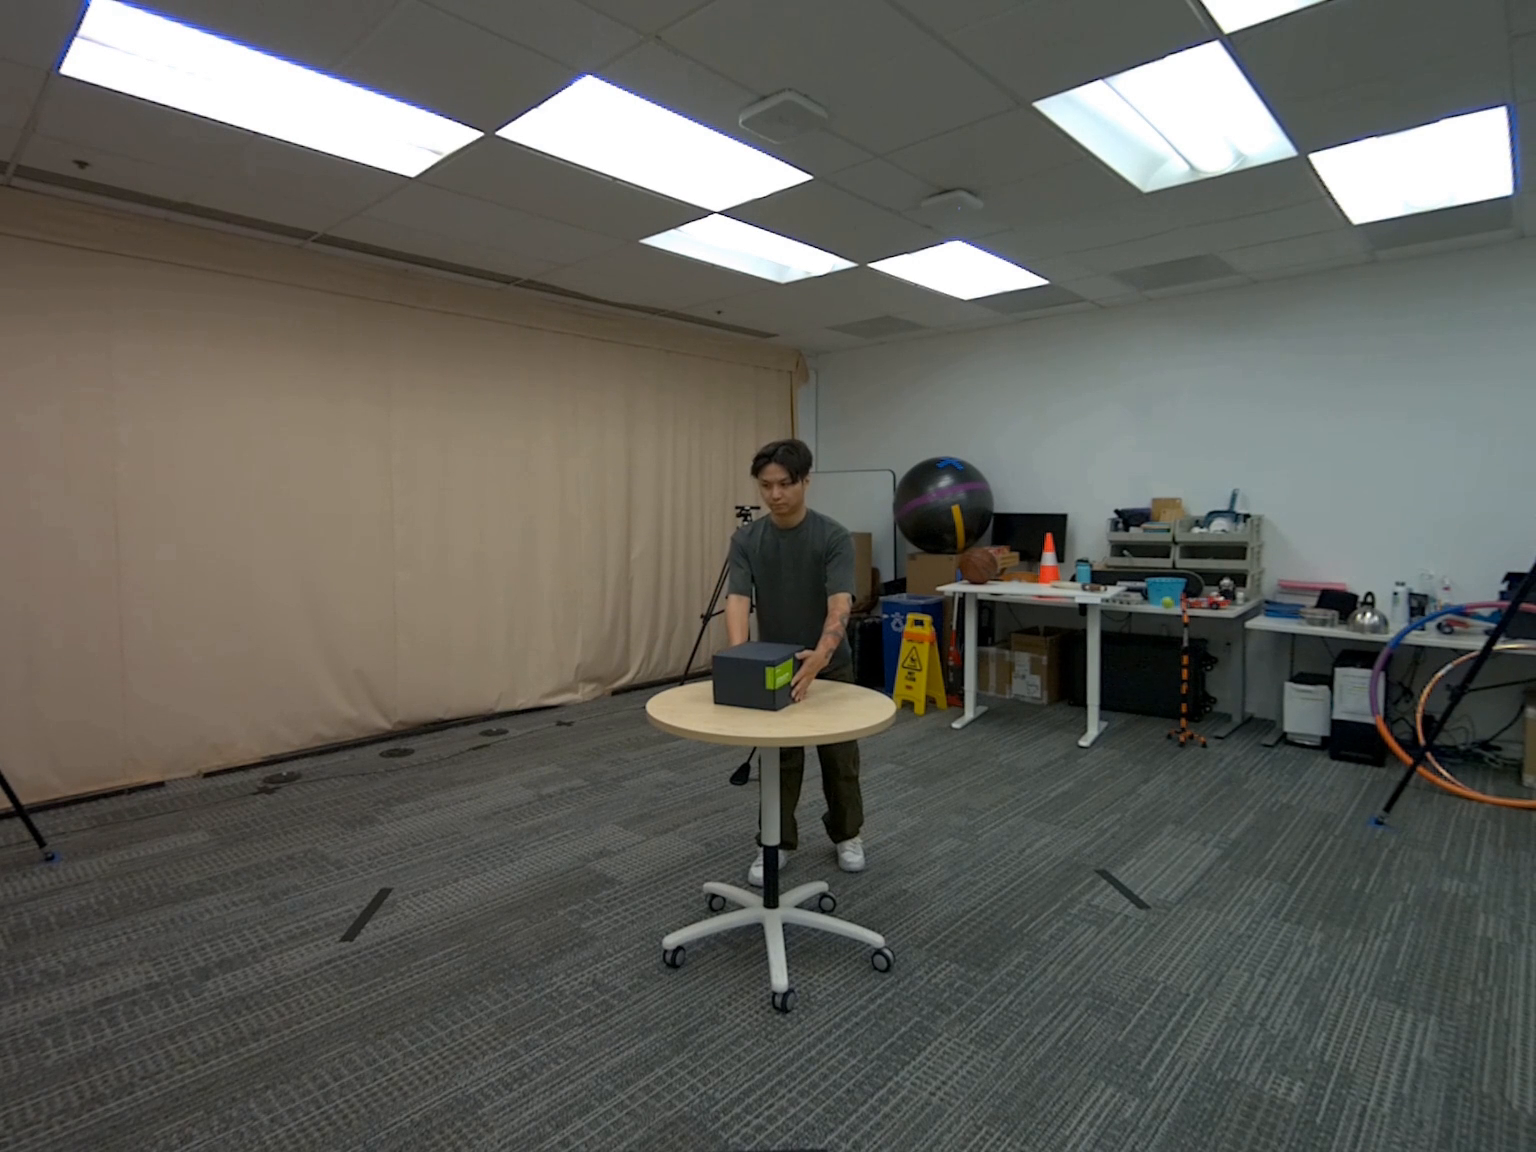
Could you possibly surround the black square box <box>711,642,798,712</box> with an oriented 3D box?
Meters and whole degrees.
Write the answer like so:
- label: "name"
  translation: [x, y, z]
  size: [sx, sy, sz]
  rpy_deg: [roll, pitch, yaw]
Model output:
- label: "black square box"
  translation: [-0.024, 0.306, 2.631]
  size: [0.223, 0.155, 0.222]
  rpy_deg: [3, 7, 27]
